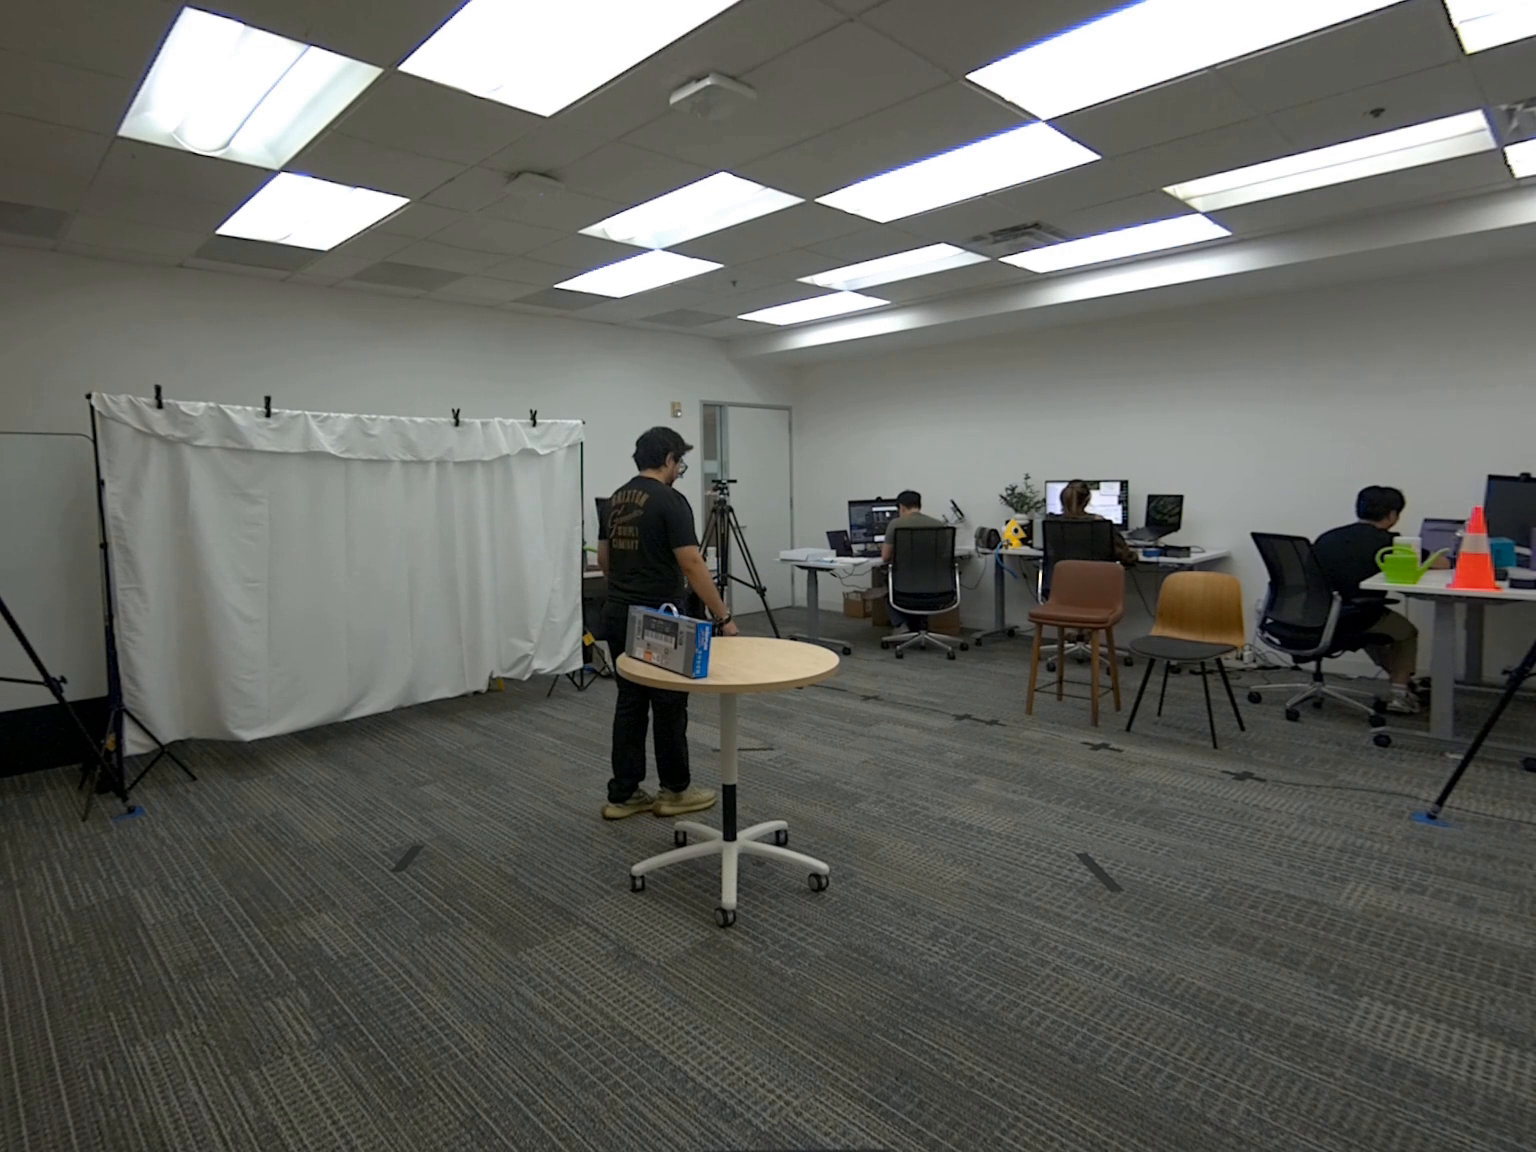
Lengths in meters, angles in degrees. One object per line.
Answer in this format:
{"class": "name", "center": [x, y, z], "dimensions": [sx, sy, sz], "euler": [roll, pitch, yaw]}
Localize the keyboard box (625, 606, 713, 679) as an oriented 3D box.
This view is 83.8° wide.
{"class": "keyboard box", "center": [-0.339, 0.214, 2.823], "dimensions": [0.057, 0.176, 0.450], "euler": [4, 2, -37]}
